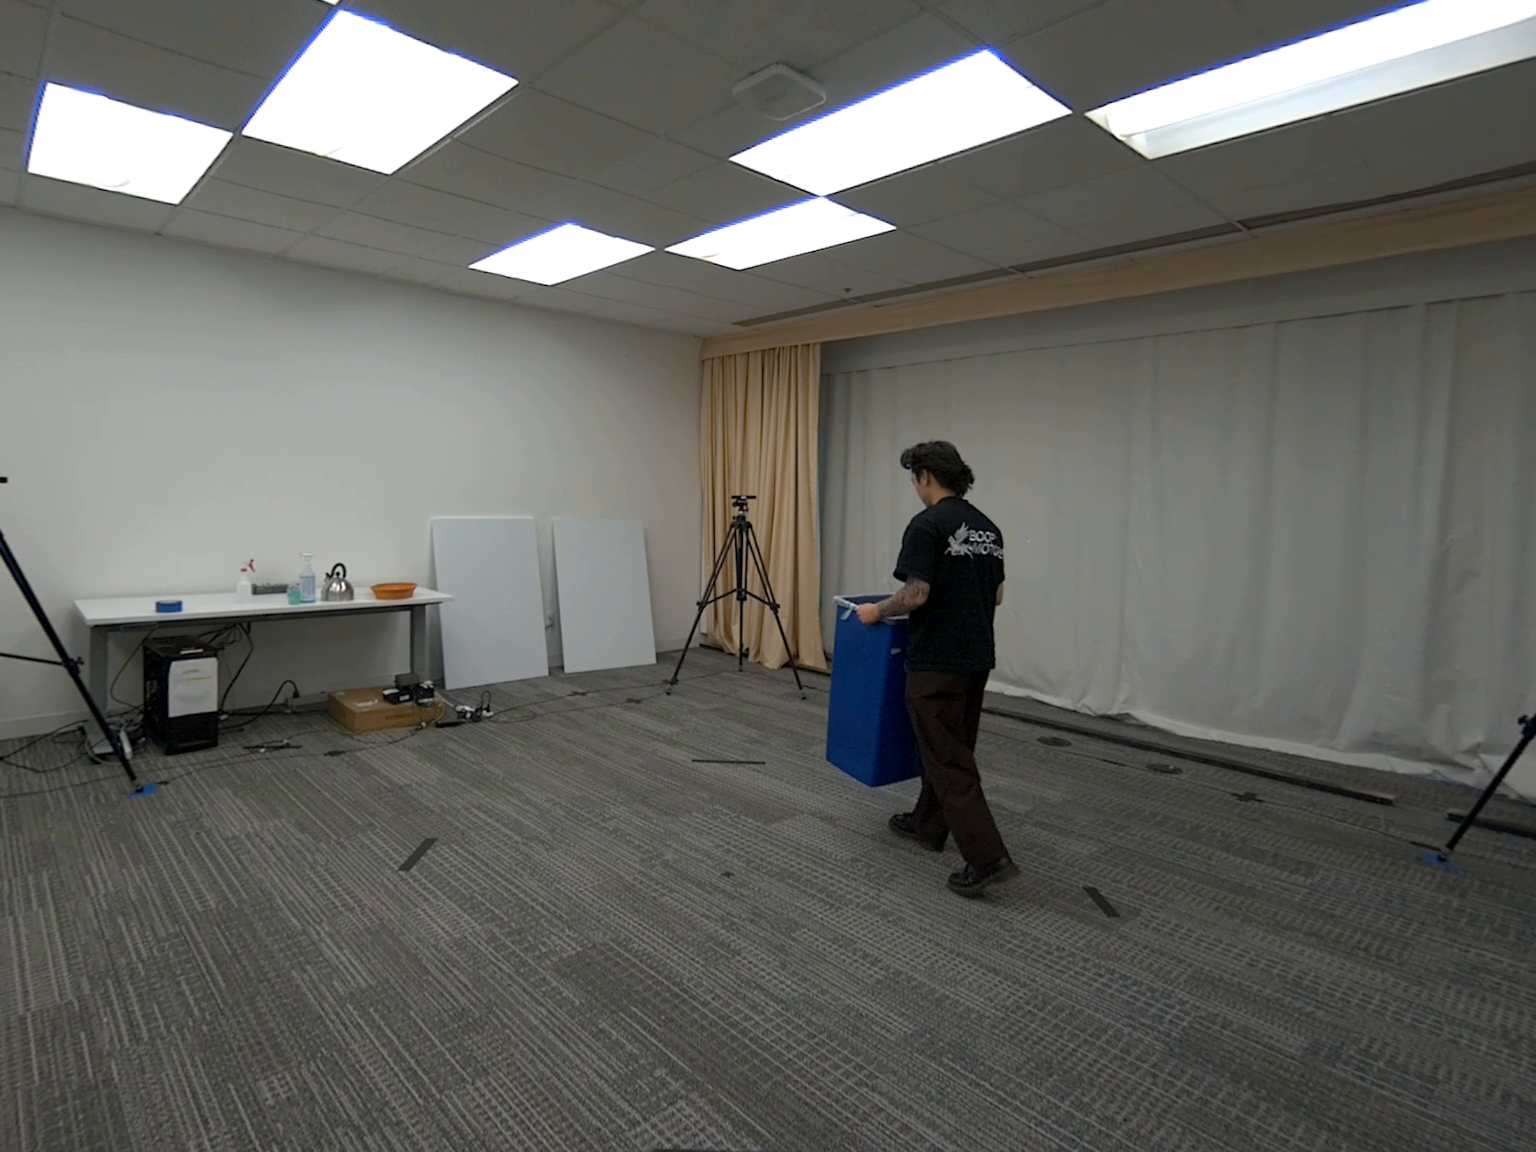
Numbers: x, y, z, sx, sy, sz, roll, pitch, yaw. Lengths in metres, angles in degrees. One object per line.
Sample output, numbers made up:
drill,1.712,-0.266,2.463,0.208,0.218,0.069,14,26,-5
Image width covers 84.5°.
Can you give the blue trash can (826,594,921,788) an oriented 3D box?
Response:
blue trash can,0.477,0.459,3.527,0.366,0.709,0.389,-2,12,-35
